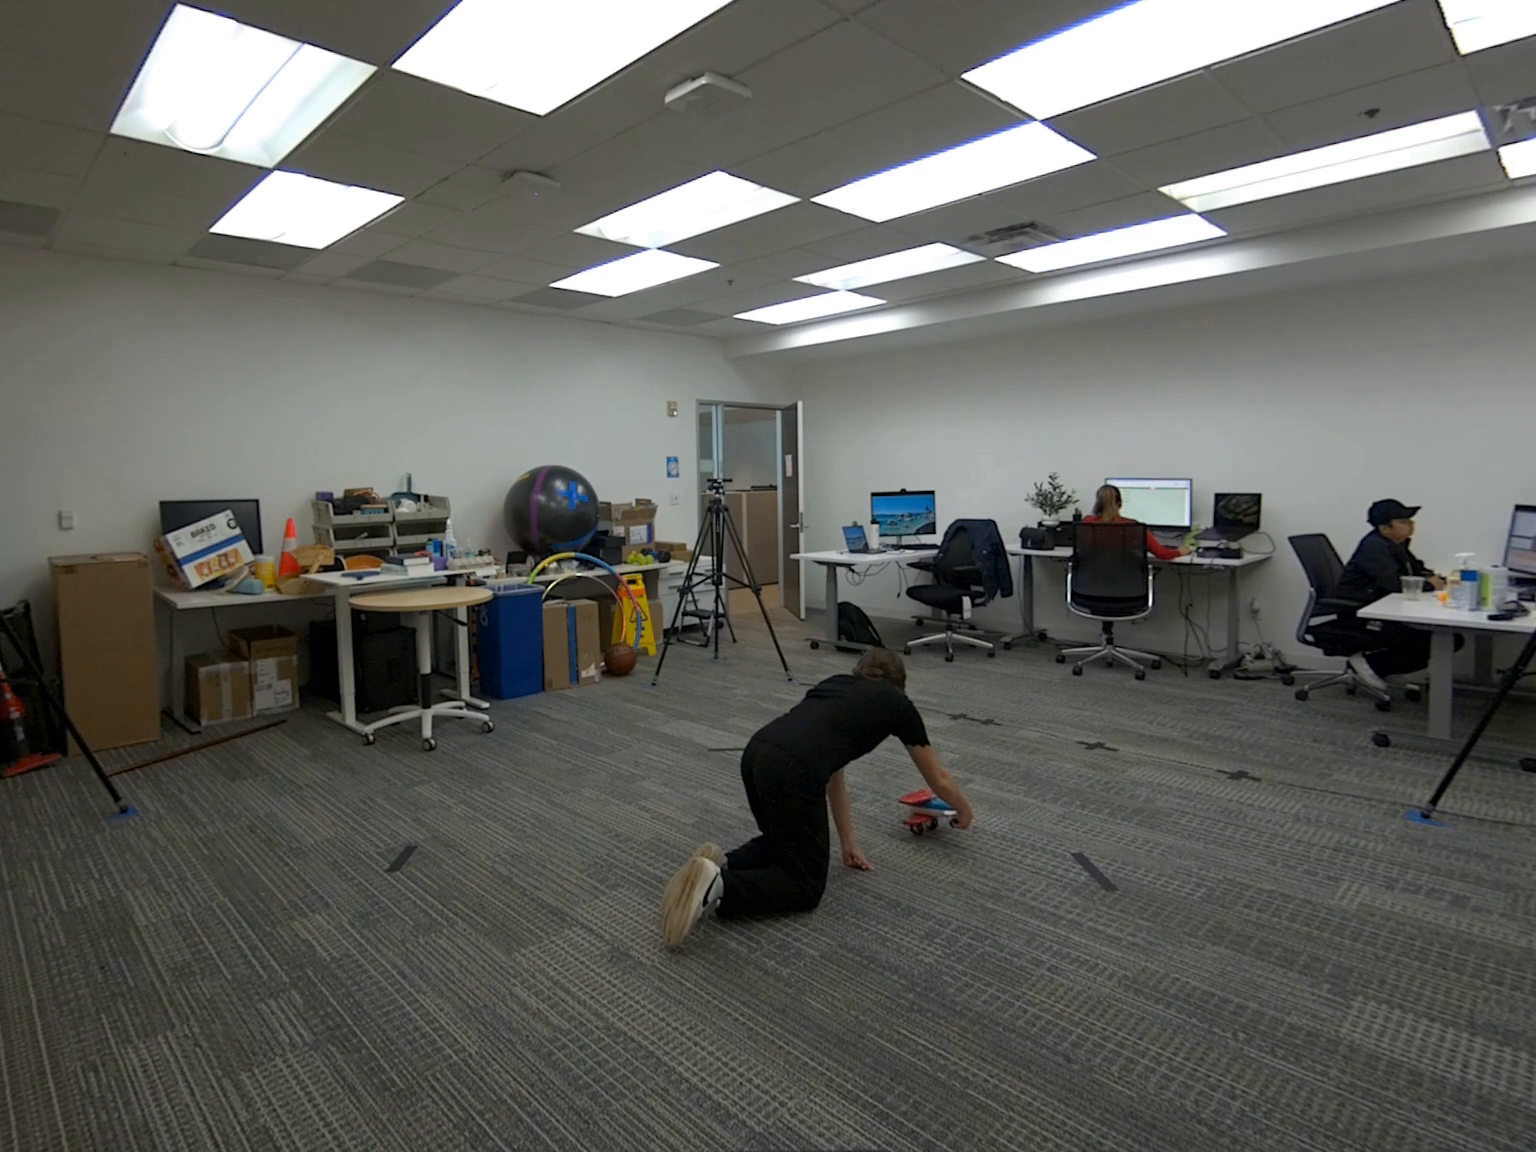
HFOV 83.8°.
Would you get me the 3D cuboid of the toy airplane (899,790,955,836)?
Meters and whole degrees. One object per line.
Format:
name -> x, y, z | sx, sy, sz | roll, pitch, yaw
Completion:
toy airplane -> 0.654, 0.908, 3.326 | 0.262, 0.159, 0.243 | -22, -17, 23
